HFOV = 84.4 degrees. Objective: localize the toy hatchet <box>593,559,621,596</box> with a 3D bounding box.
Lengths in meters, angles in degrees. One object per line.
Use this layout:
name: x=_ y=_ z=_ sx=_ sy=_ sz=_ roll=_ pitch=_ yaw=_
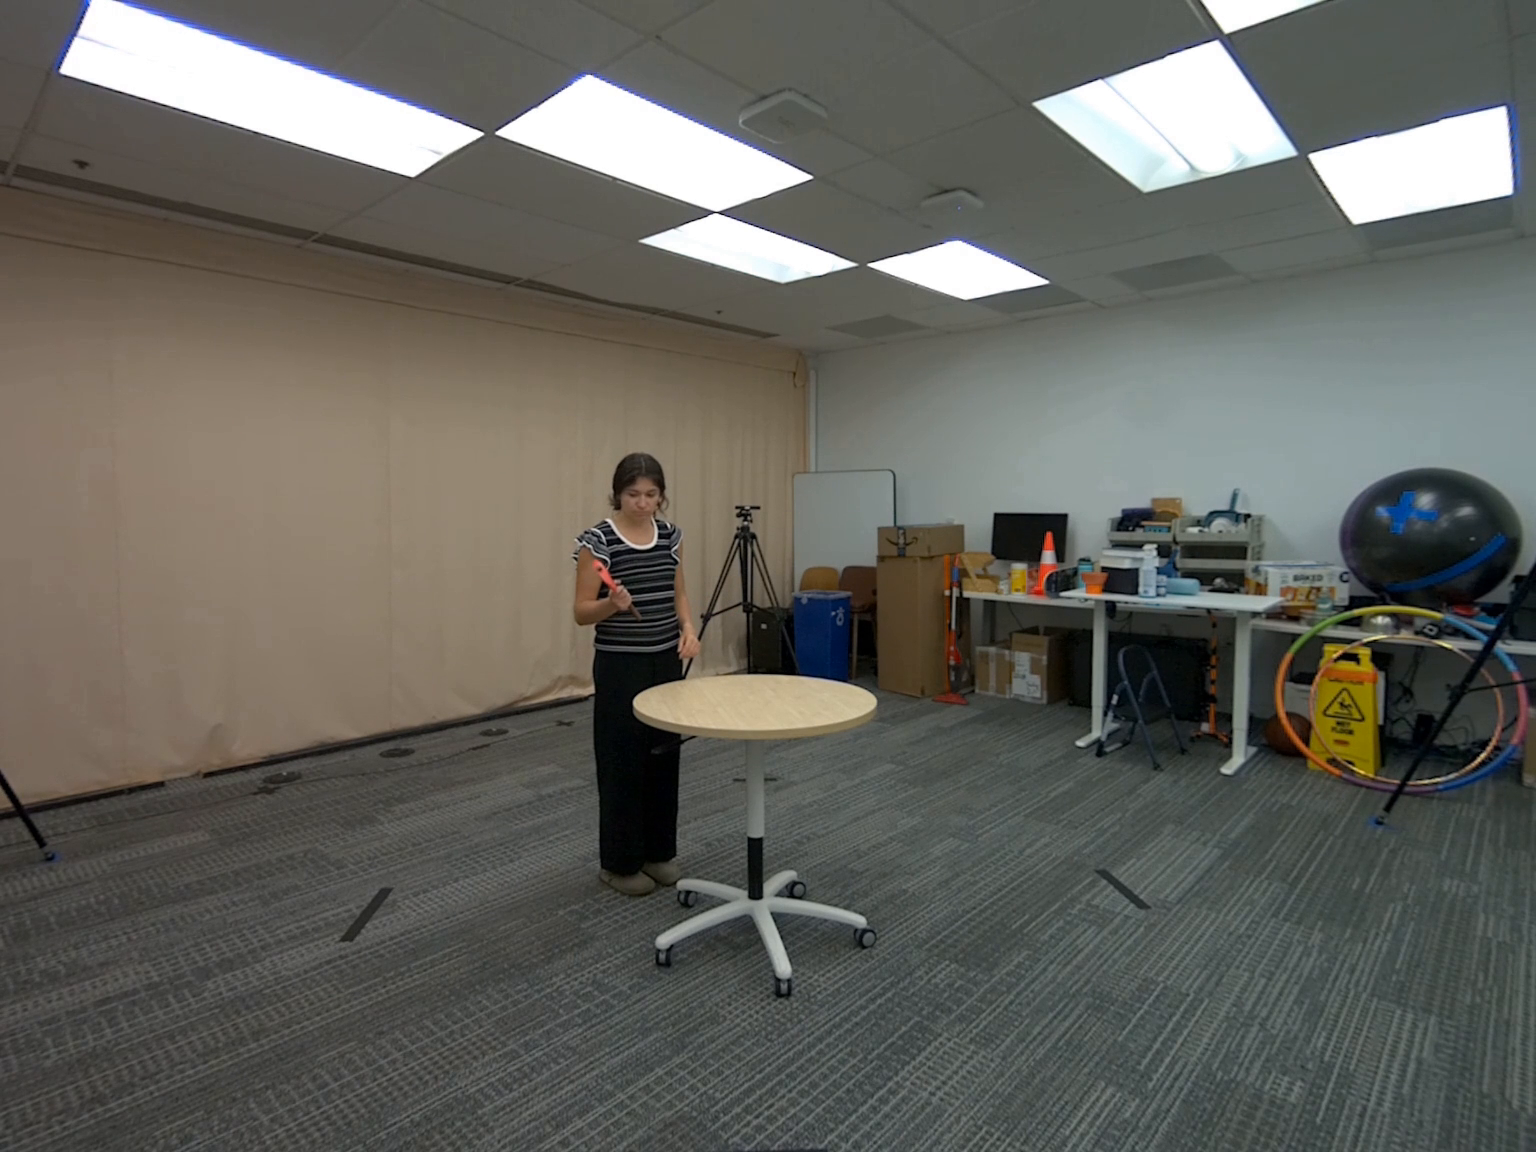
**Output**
toy hatchet: x=-0.476 y=0.063 z=2.743 sx=0.029 sy=0.262 sz=0.135 roll=-37 pitch=30 yaw=-7
